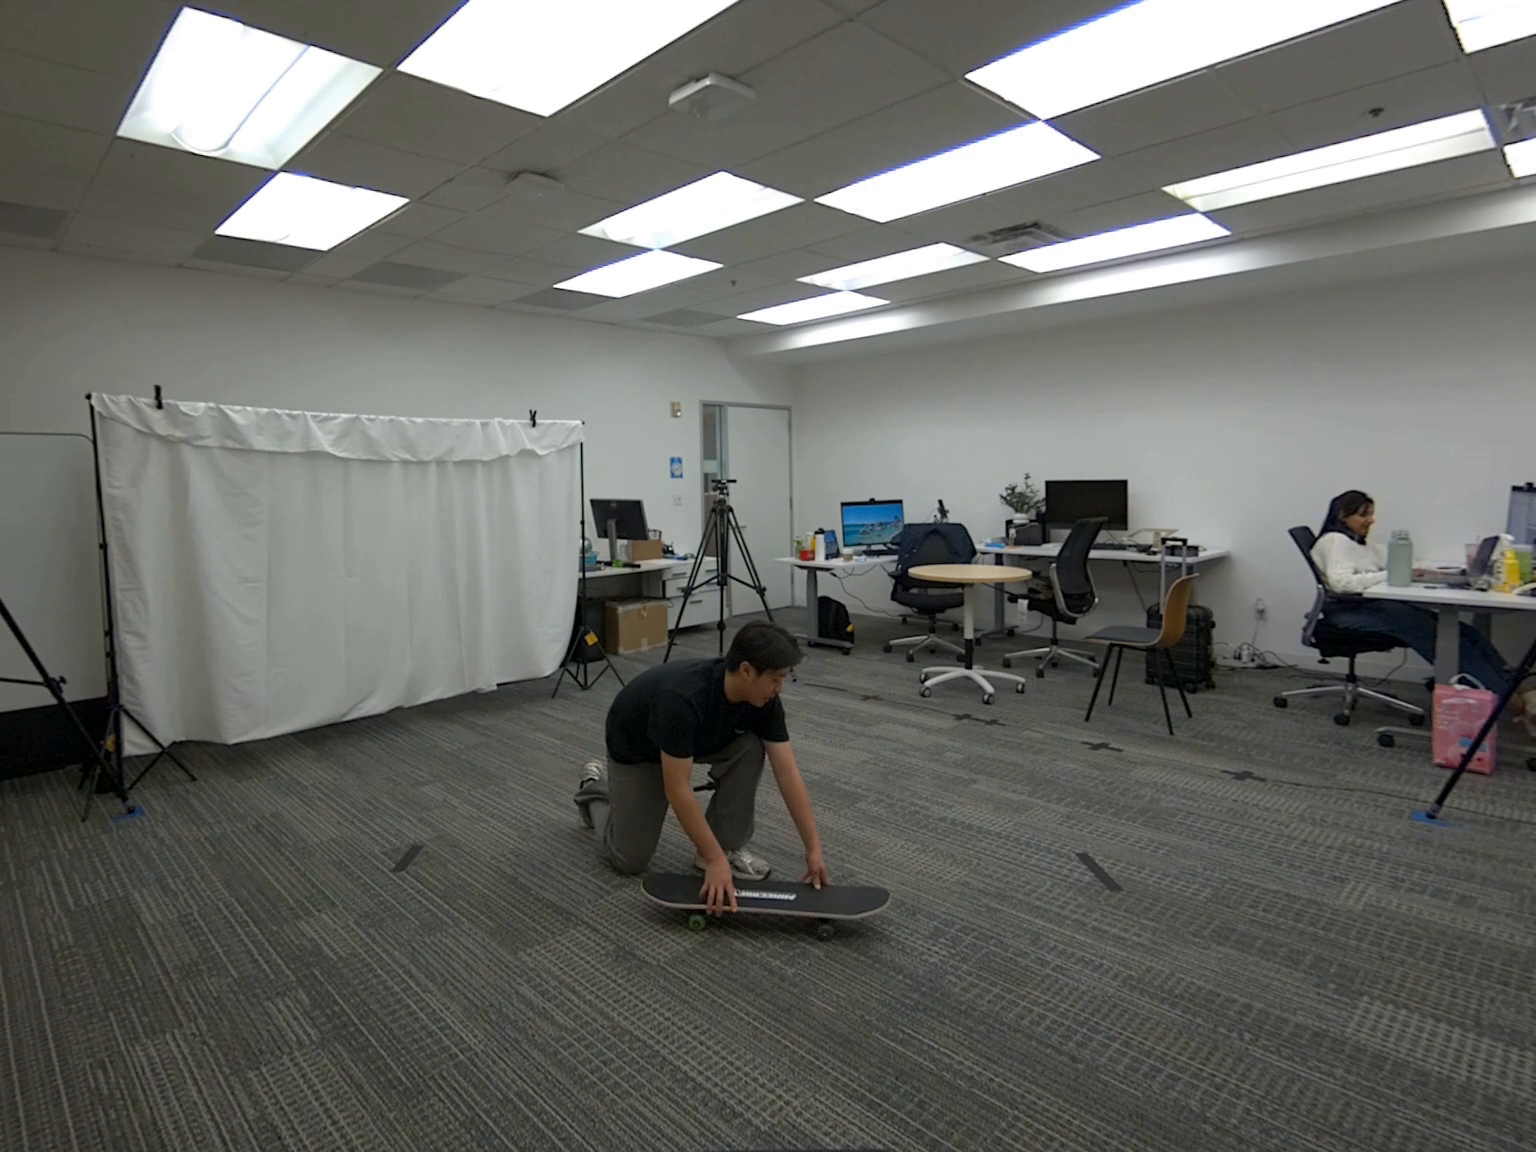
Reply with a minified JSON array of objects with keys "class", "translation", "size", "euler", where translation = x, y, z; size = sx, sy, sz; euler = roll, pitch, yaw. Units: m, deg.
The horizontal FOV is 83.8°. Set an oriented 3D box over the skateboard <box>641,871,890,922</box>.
[{"class":"skateboard","translation":[-0.012,1.036,2.697],"size":[0.793,0.110,0.192],"euler":[-1,5,9]}]
